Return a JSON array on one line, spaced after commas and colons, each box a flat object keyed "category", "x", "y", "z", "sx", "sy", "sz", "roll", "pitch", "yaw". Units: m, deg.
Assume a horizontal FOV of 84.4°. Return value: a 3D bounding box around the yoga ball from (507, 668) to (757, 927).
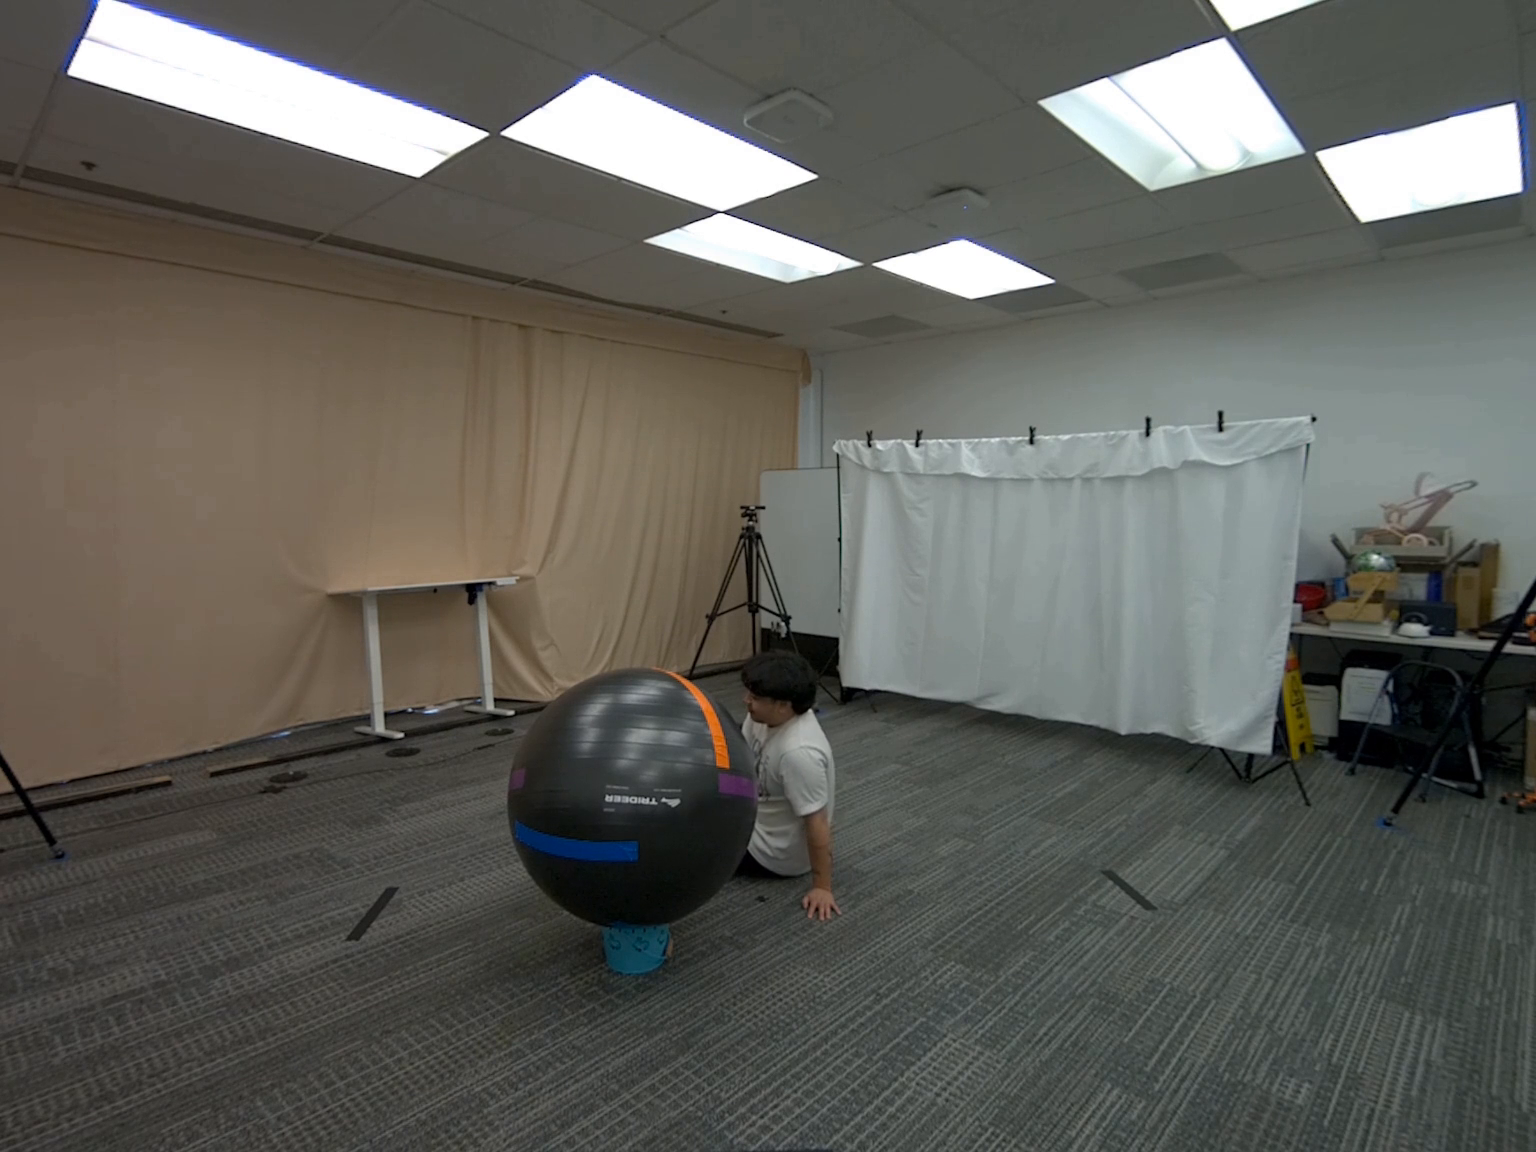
[{"category": "yoga ball", "x": -0.423, "y": 0.671, "z": 2.569, "sx": 0.757, "sy": 0.756, "sz": 0.761, "roll": 0, "pitch": 4, "yaw": -2}]
